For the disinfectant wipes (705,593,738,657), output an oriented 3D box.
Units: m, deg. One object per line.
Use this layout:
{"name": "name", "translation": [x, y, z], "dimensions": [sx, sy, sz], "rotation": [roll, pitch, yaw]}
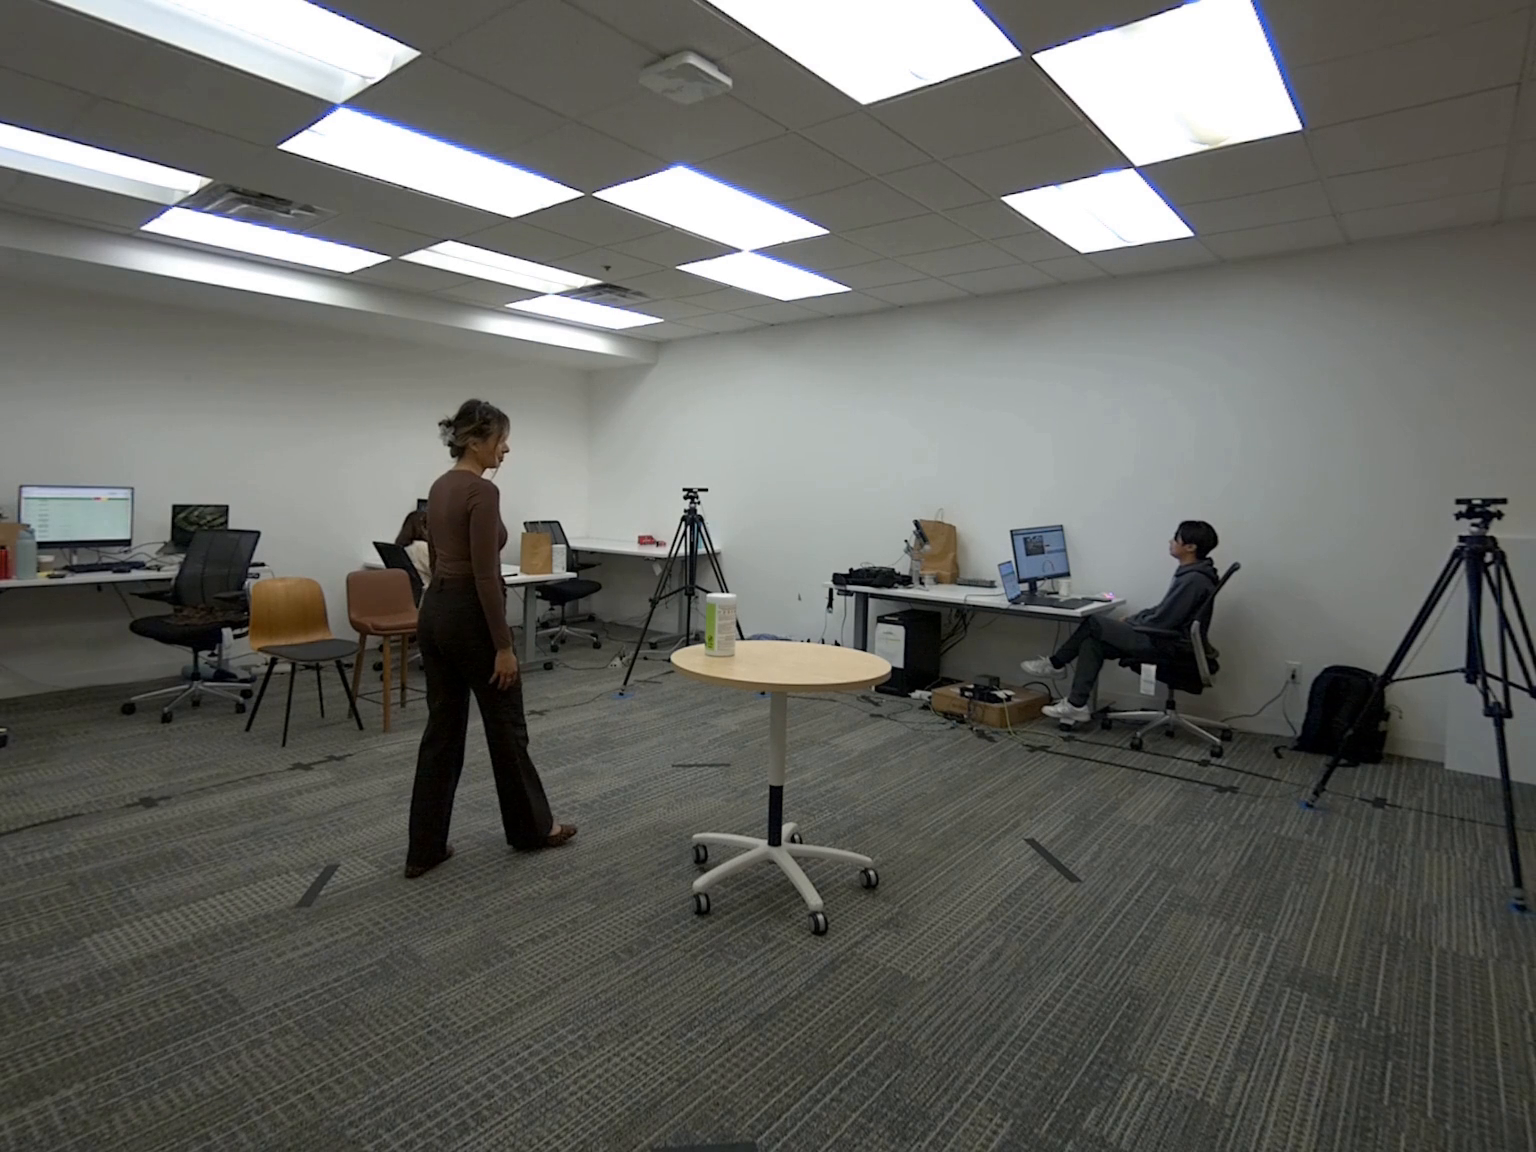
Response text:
{"name": "disinfectant wipes", "translation": [-0.175, 0.175, 3.024], "dimensions": [0.117, 0.217, 0.118], "rotation": [2, 3, -2]}
